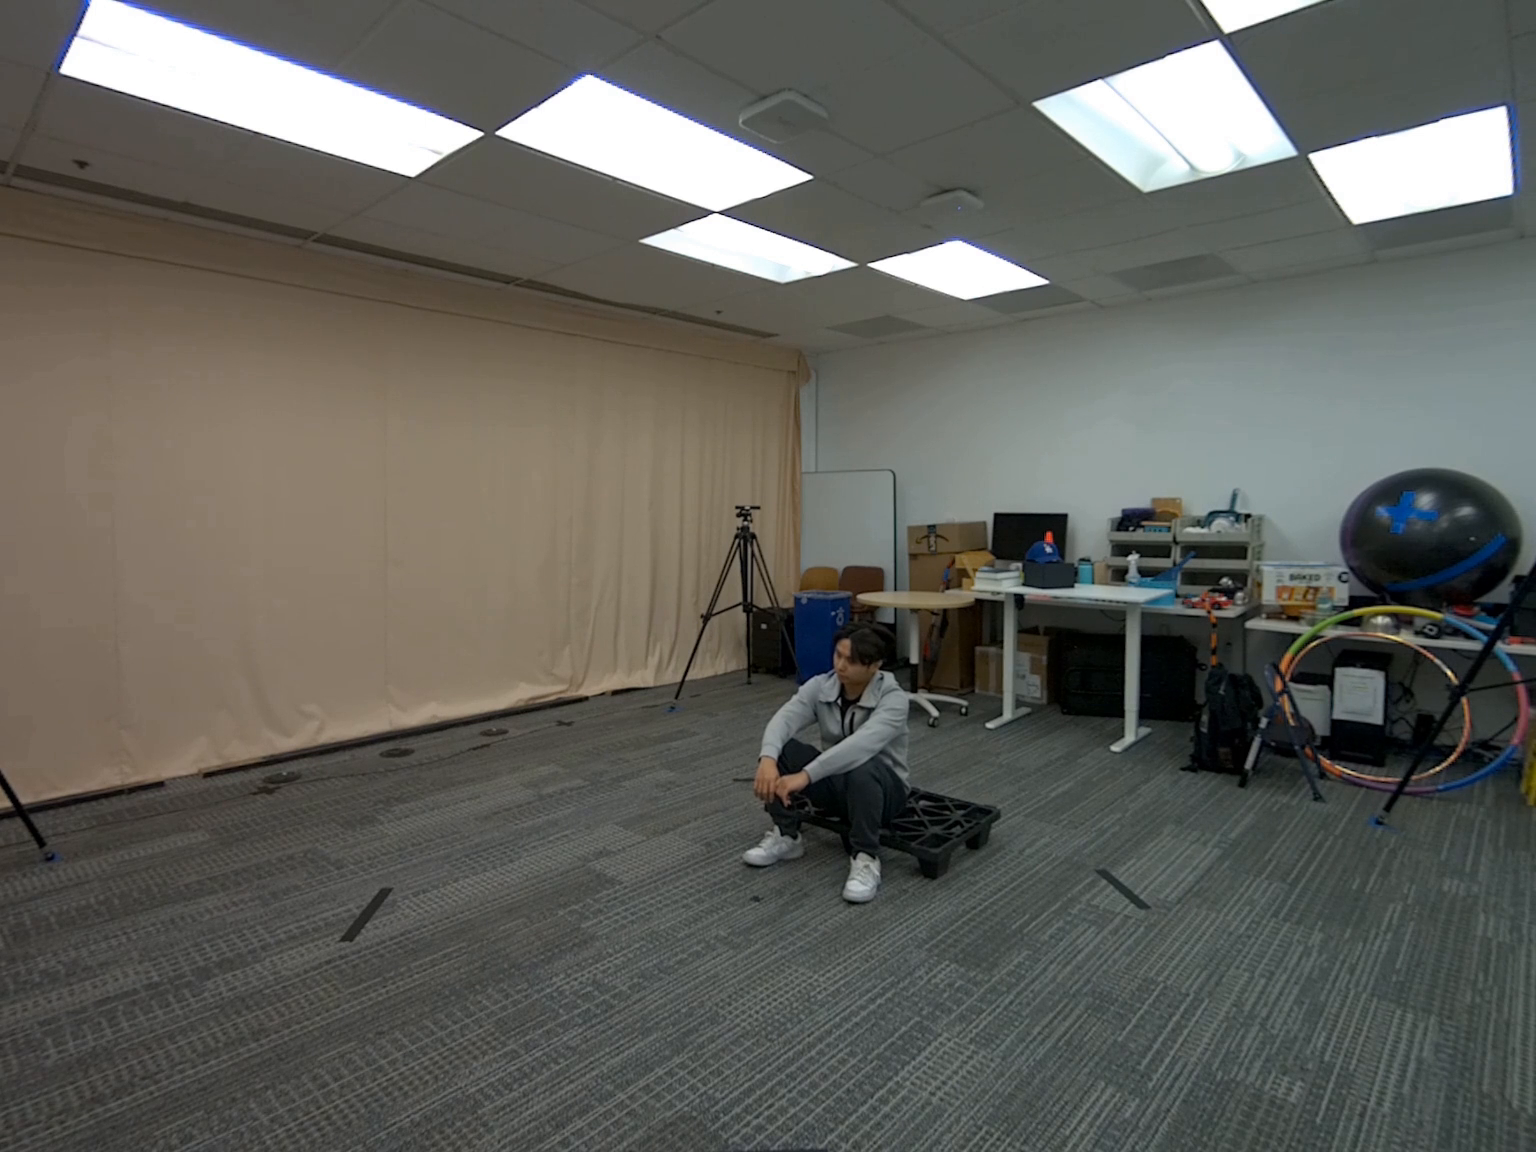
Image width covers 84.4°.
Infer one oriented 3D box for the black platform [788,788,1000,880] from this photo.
[{"bbox_3d":[0.473,1.030,3.528,0.832,0.143,0.587,4,6,40],"label":"black platform"}]
